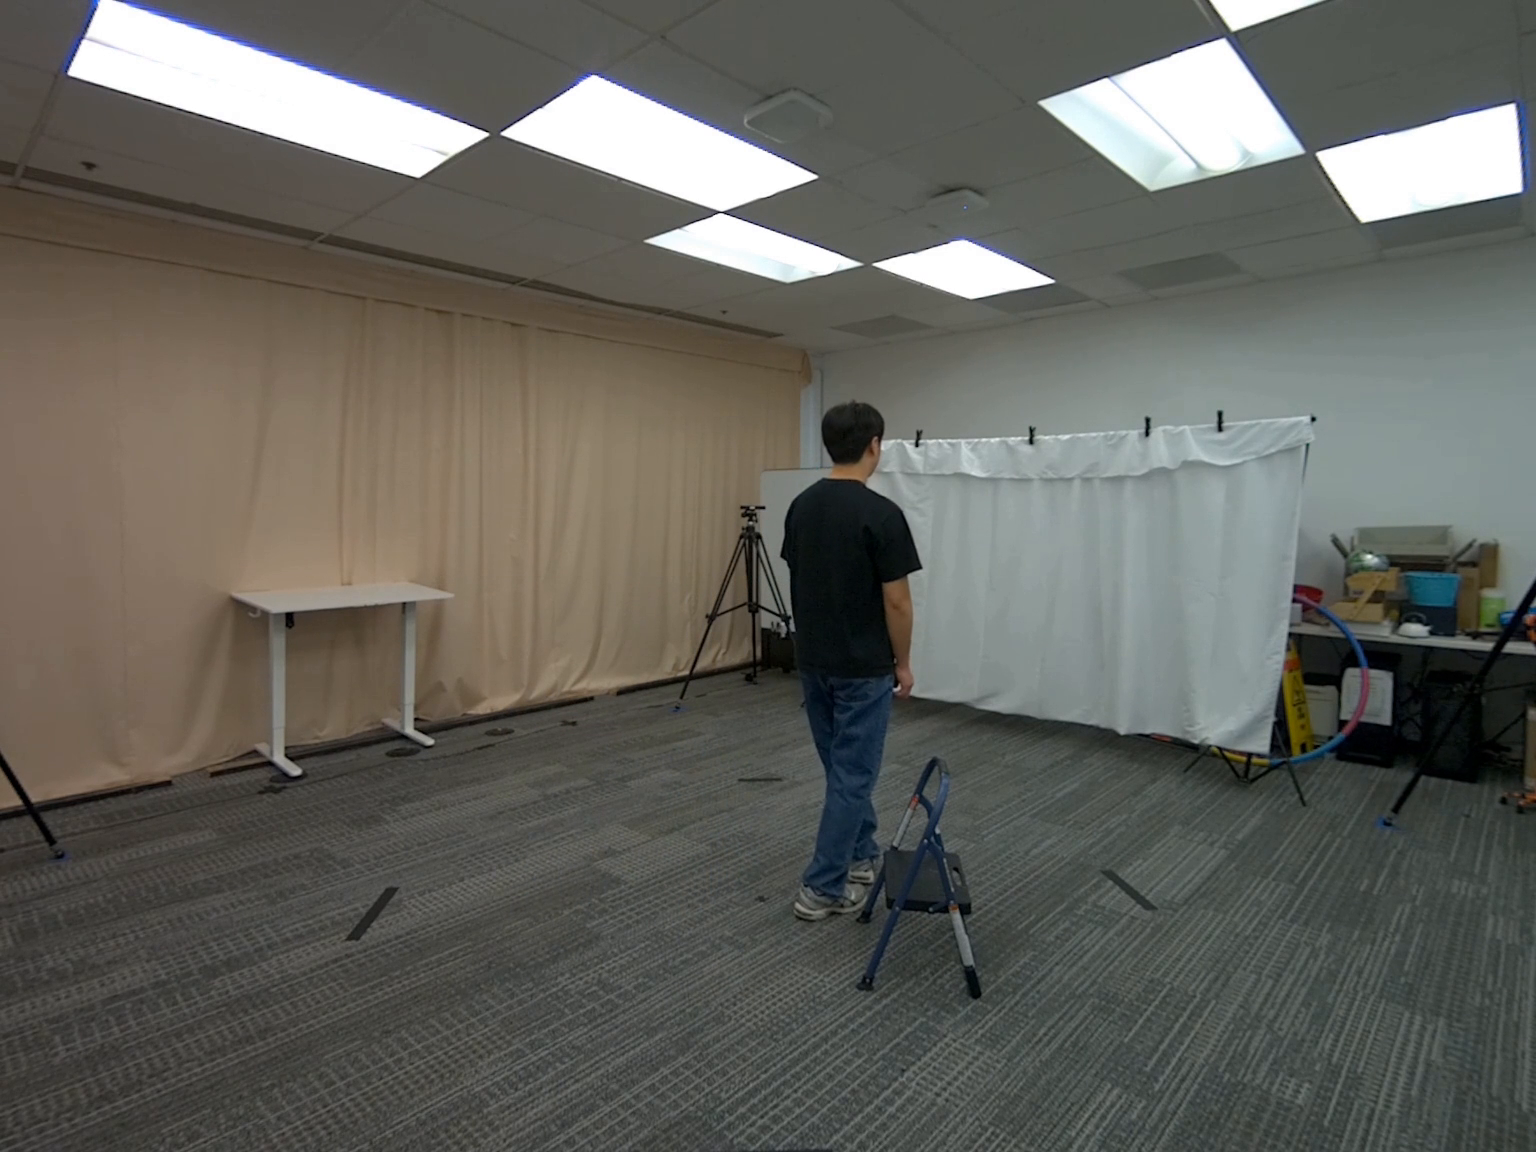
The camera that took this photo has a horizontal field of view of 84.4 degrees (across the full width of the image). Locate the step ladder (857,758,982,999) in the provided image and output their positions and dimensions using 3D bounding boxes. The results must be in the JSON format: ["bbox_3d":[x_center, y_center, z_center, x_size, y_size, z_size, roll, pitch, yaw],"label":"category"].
[{"bbox_3d":[0.467,0.880,2.580,0.352,0.604,0.428,0,5,6],"label":"step ladder"}]
